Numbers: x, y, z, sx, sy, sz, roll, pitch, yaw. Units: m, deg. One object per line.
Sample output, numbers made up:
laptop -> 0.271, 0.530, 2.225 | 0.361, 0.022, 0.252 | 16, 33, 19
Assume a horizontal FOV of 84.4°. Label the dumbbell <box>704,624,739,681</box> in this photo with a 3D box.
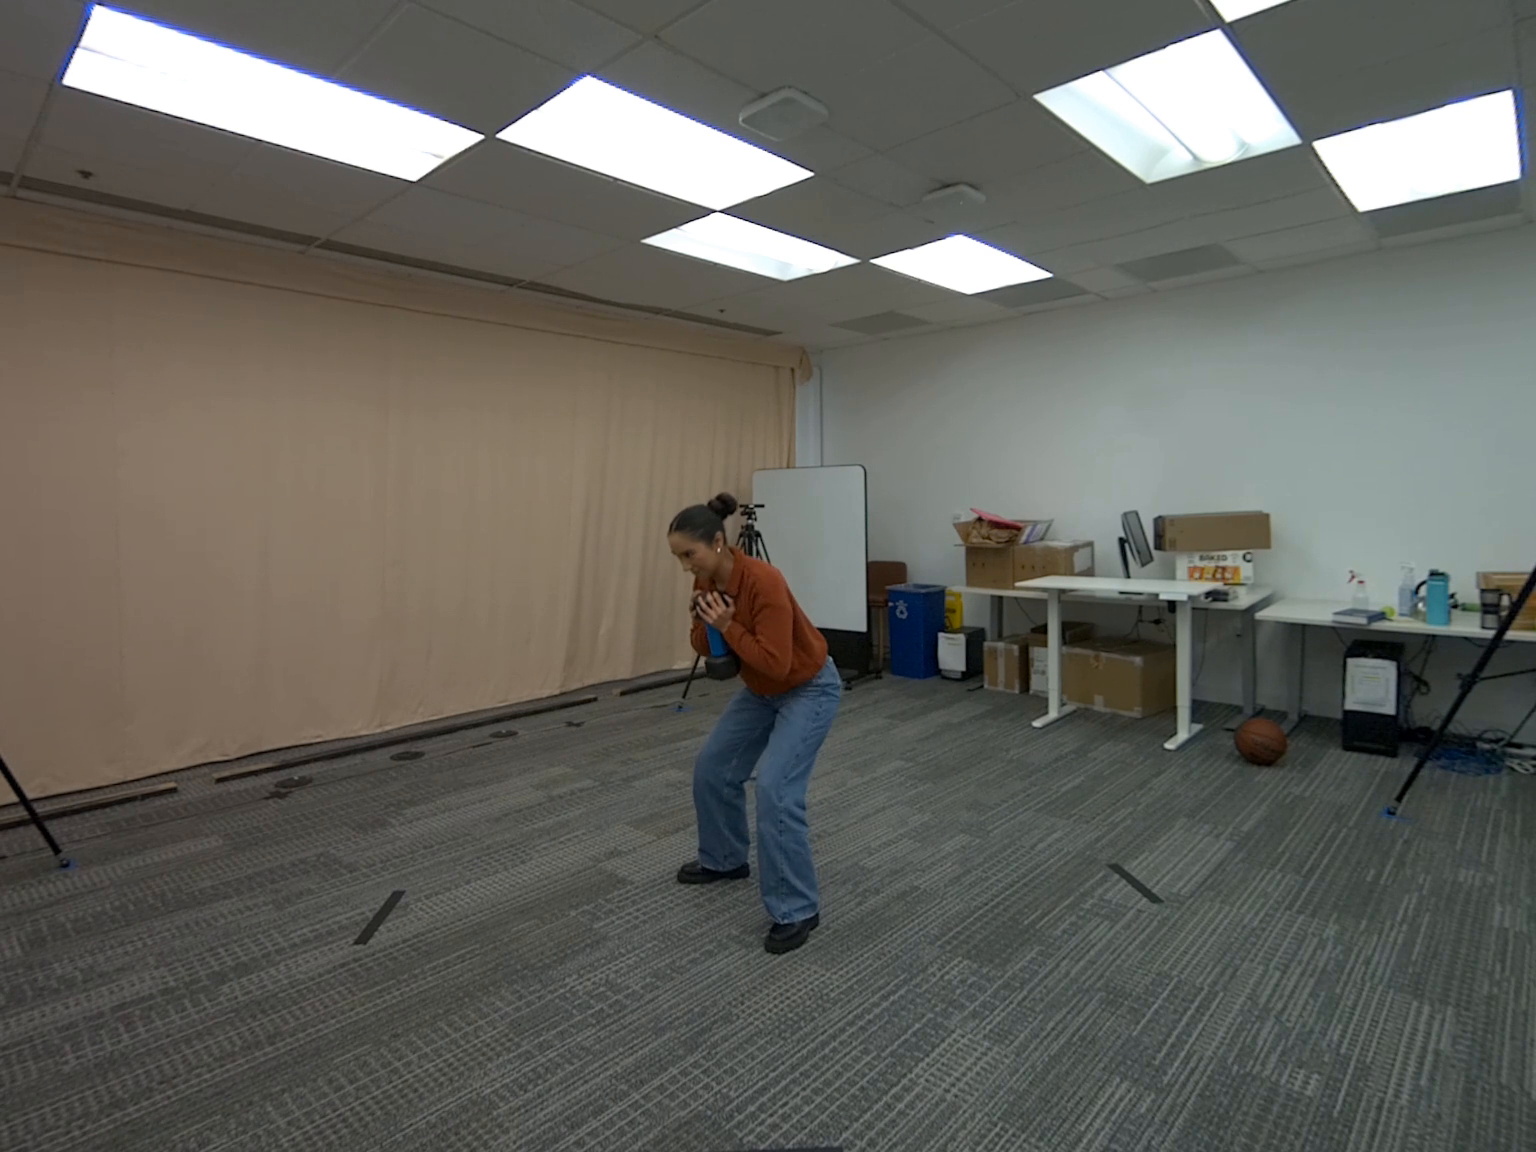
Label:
dumbbell -> -0.166, 0.205, 2.837 | 0.127, 0.291, 0.106 | 0, 15, 40
